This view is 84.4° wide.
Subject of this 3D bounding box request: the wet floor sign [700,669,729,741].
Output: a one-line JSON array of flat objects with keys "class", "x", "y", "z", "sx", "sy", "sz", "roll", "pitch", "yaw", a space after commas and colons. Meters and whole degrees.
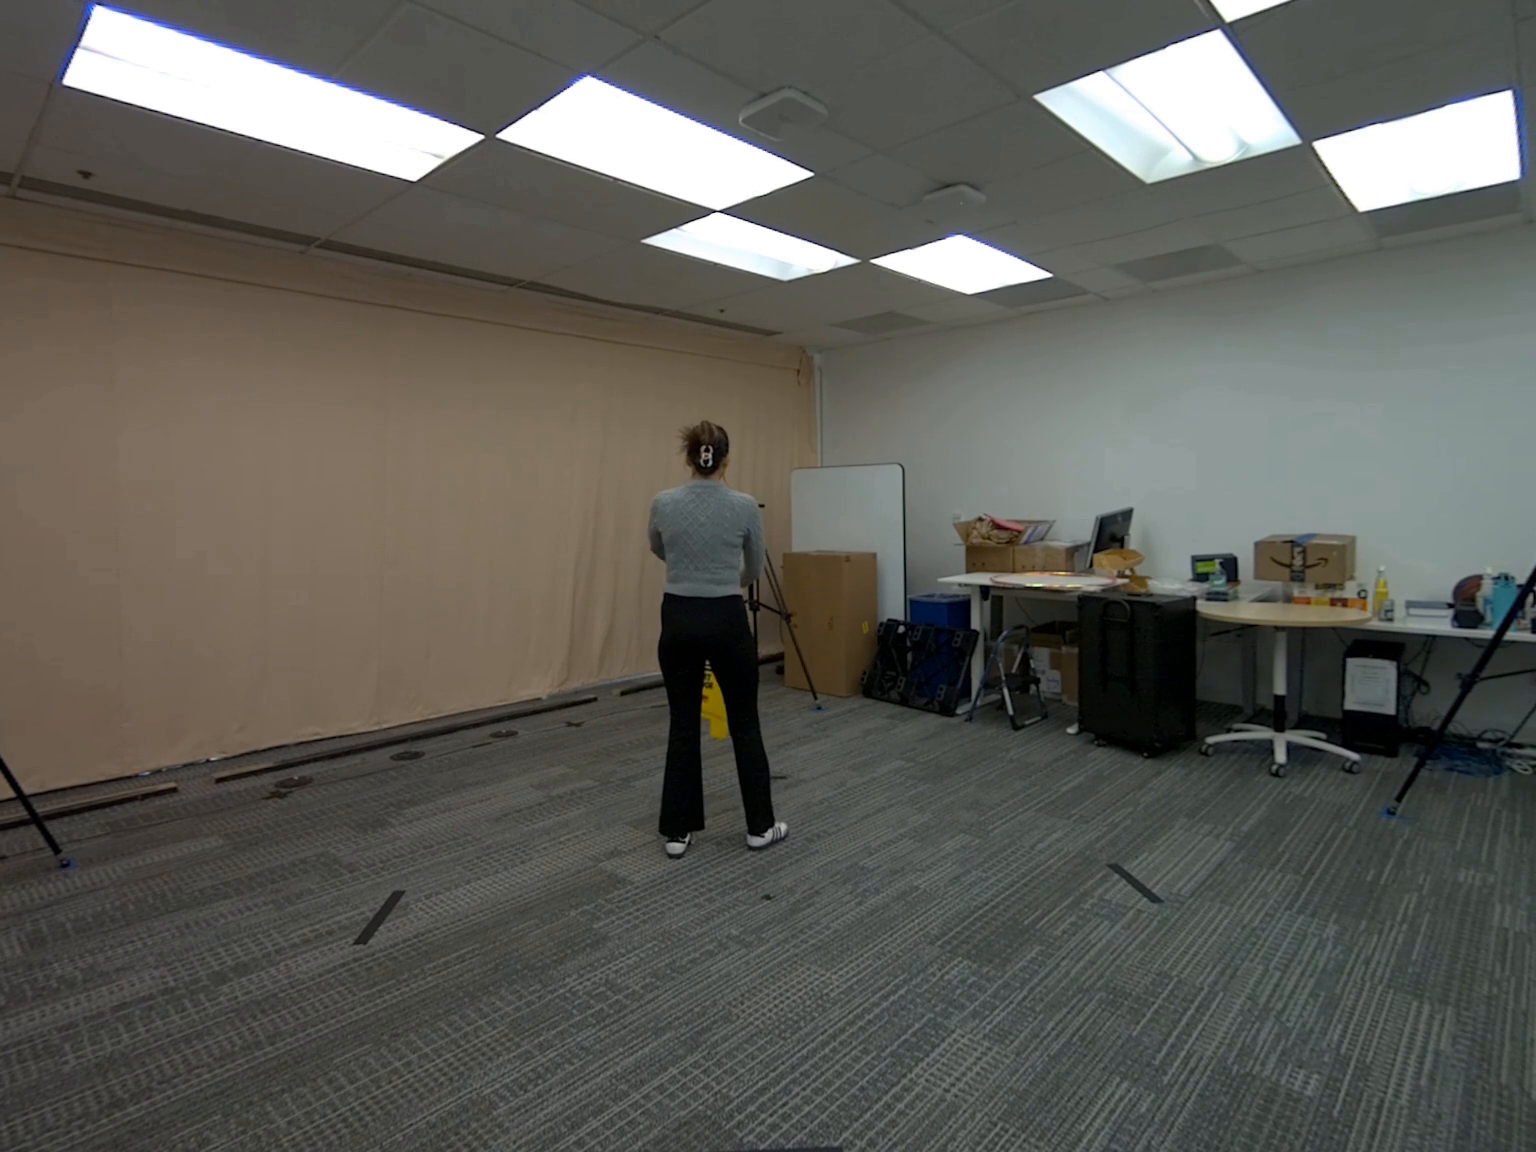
[{"class": "wet floor sign", "x": -0.246, "y": 0.371, "z": 3.842, "sx": 0.289, "sy": 0.644, "sz": 0.283, "roll": 4, "pitch": 6, "yaw": 24}]
